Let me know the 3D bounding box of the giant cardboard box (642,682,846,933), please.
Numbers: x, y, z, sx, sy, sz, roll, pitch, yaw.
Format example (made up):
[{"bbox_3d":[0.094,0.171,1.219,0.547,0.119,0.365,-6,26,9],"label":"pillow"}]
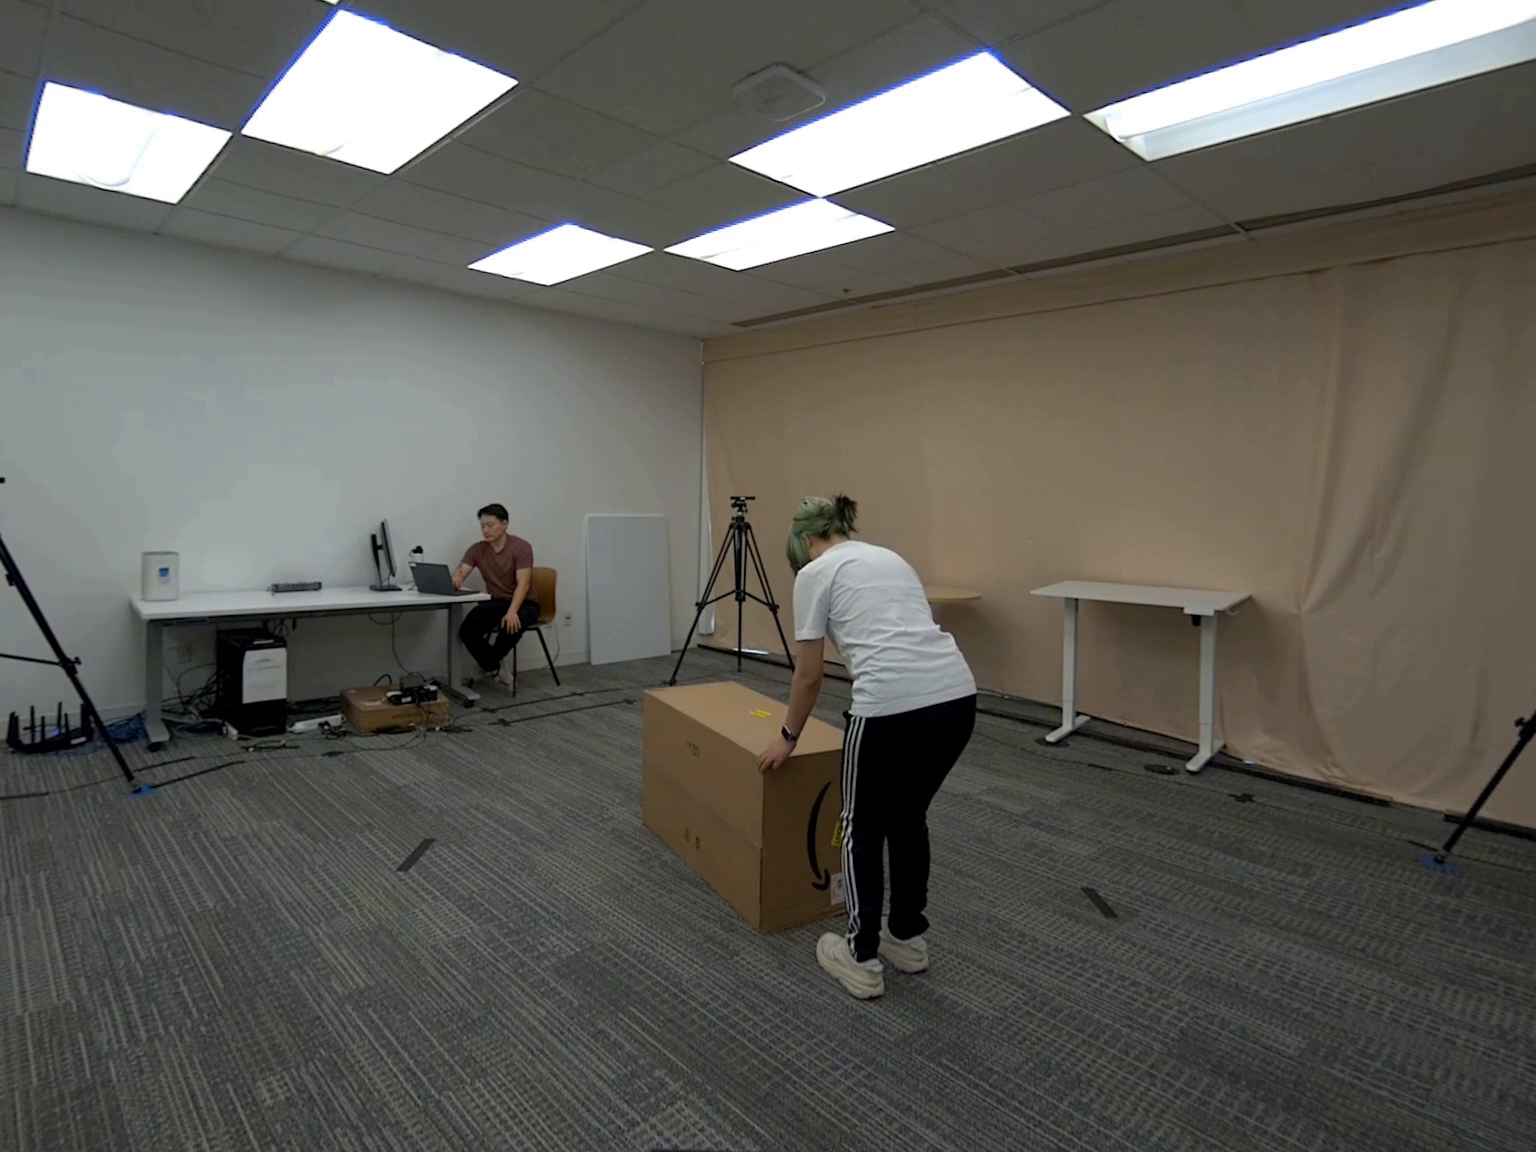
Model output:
[{"bbox_3d":[-0.100,0.809,3.216,0.438,0.582,1.051,0,5,-30],"label":"giant cardboard box"}]
